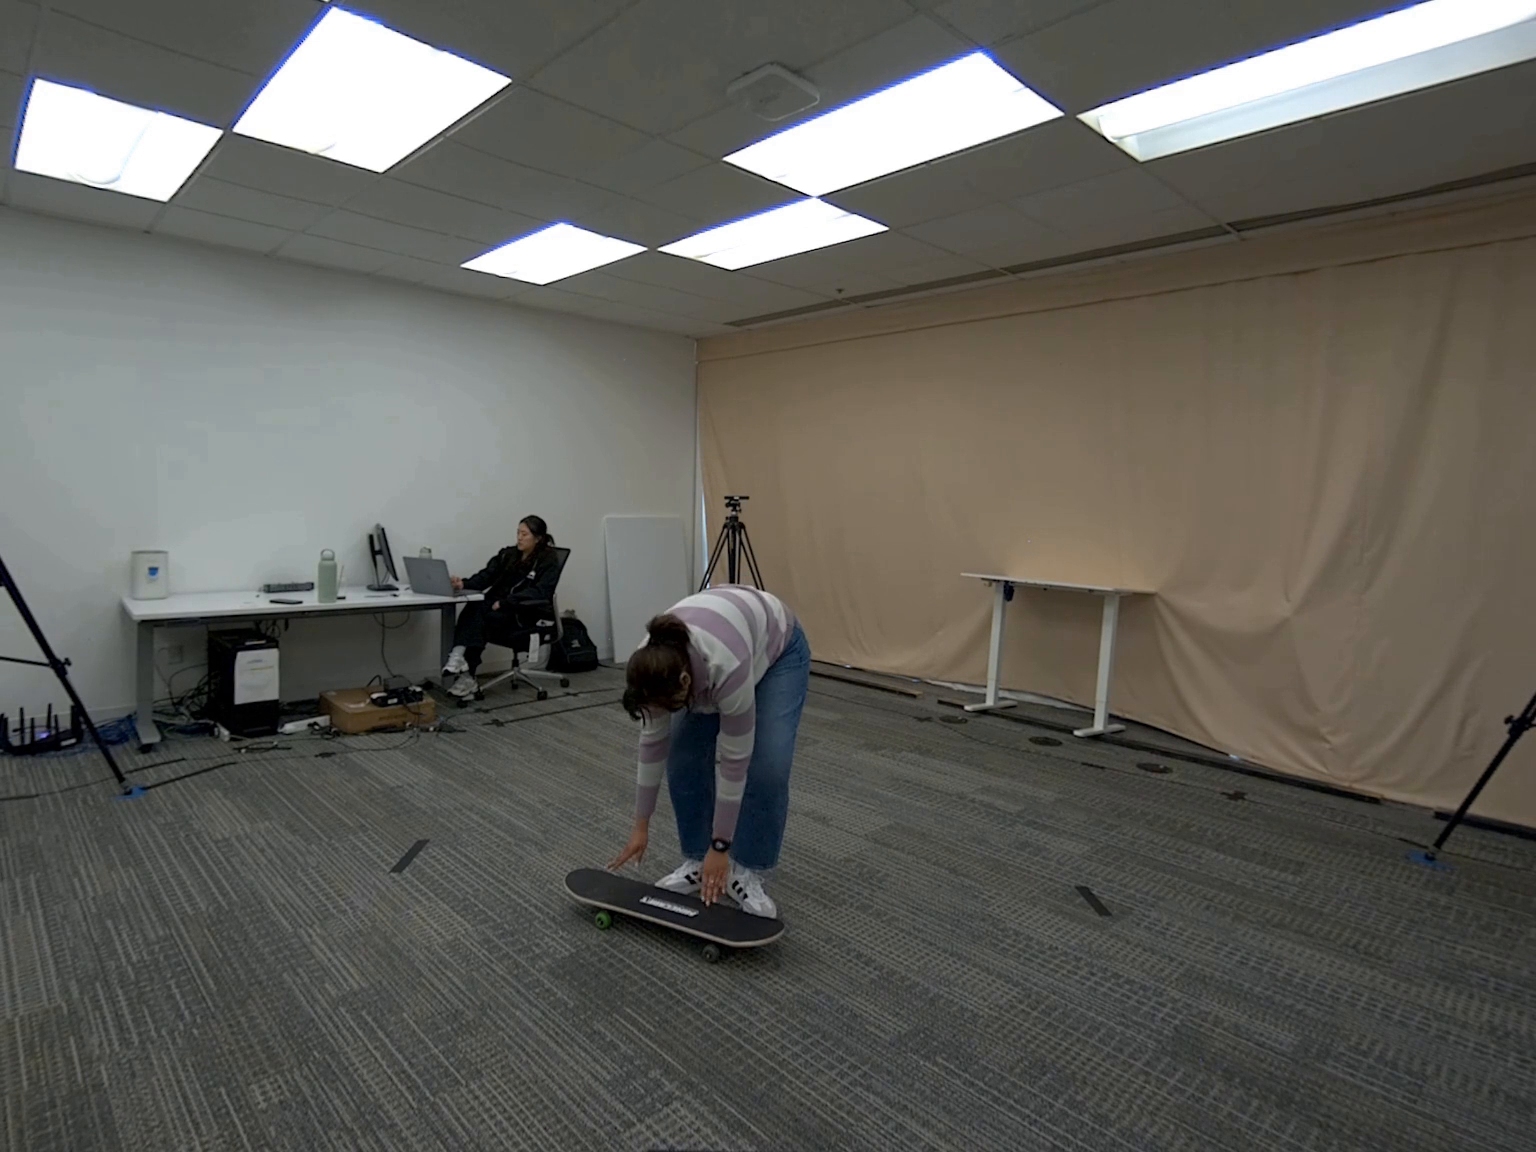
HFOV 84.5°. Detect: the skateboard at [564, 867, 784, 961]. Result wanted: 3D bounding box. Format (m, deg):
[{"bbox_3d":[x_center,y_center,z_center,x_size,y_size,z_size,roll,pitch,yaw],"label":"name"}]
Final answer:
[{"bbox_3d":[-0.326,1.084,2.673,0.801,0.110,0.190,4,4,27],"label":"skateboard"}]
